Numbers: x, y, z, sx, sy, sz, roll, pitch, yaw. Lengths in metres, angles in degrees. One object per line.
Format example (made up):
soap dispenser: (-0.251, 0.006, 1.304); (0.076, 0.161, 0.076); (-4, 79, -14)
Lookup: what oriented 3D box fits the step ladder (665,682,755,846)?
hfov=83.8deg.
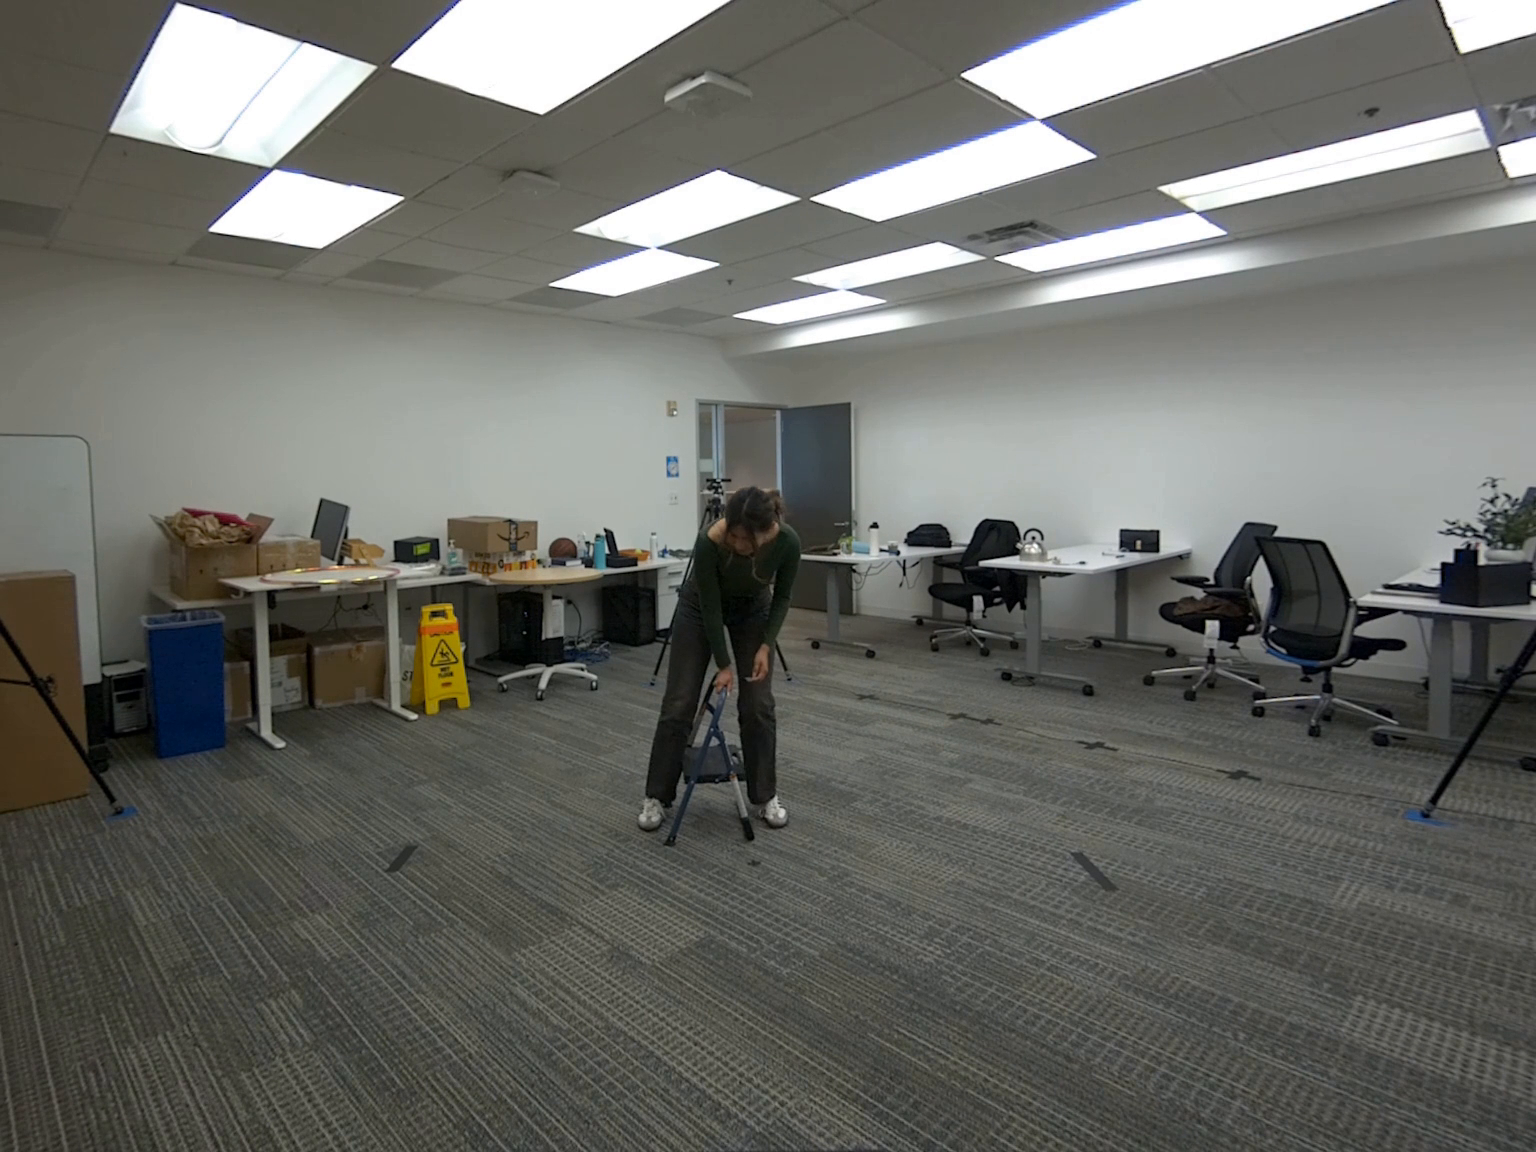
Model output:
step ladder: (-0.252, 0.709, 3.466); (0.347, 0.605, 0.434); (-1, 2, -6)
